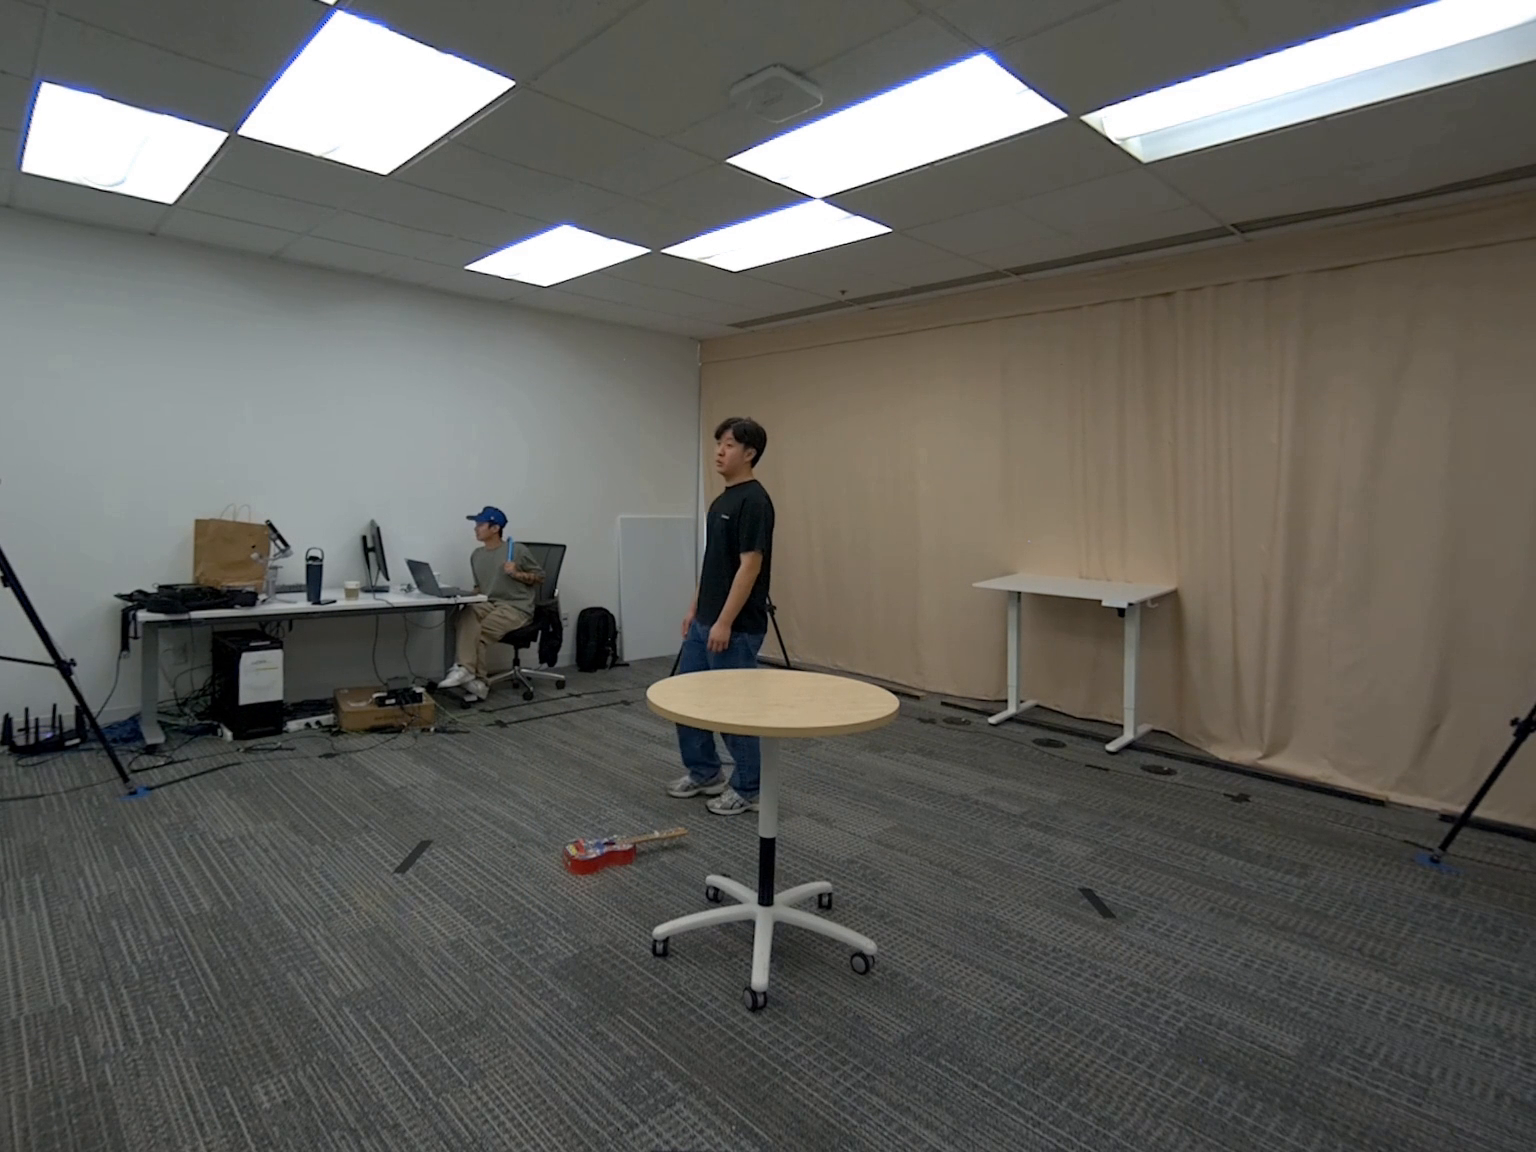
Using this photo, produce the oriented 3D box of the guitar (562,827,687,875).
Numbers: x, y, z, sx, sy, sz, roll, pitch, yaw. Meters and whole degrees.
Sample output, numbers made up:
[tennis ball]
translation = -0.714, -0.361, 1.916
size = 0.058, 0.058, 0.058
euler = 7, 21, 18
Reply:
[guitar]
translation = -0.541, 1.054, 3.232
size = 0.491, 0.070, 0.196
euler = -1, 5, -19
